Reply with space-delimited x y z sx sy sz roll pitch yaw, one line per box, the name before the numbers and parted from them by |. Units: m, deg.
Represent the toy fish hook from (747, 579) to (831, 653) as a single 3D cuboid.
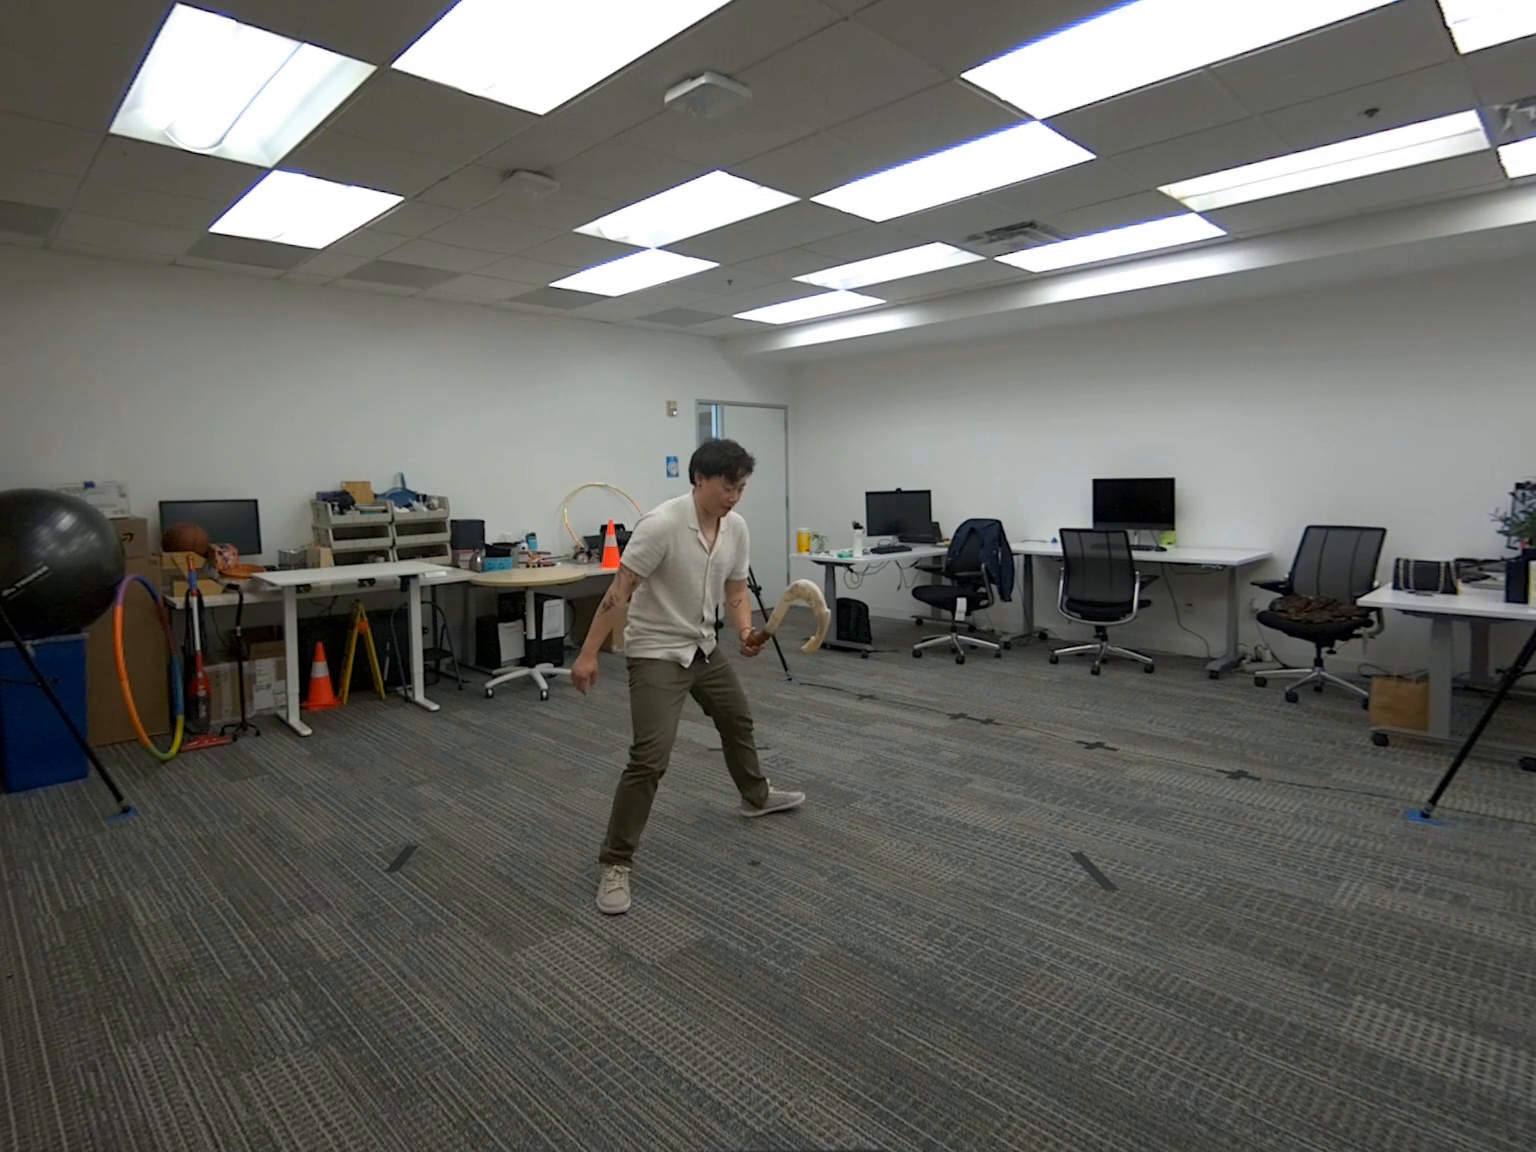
toy fish hook | 0.061 0.206 2.880 0.047 0.230 0.506 -4 -26 -35
